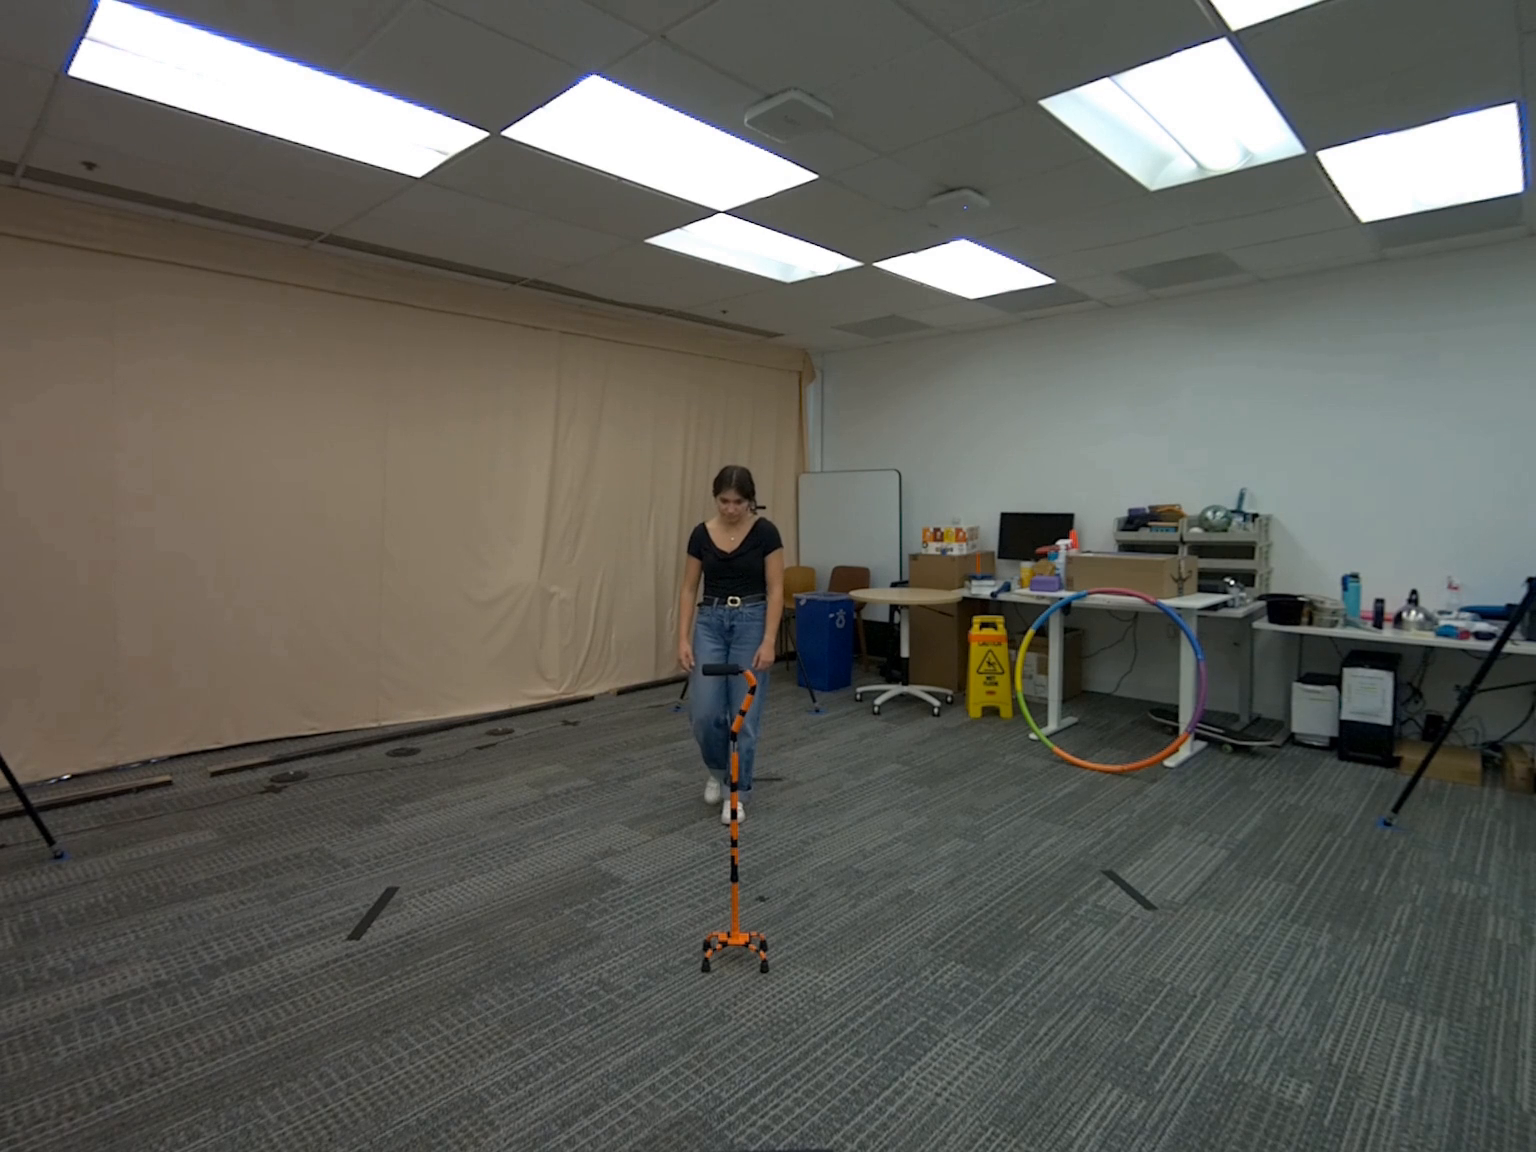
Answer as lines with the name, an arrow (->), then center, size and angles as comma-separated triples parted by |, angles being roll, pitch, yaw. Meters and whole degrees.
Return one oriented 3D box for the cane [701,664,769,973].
cane -> -0.104, 0.721, 2.562 | 0.206, 0.907, 0.152 | 0, 2, -1
